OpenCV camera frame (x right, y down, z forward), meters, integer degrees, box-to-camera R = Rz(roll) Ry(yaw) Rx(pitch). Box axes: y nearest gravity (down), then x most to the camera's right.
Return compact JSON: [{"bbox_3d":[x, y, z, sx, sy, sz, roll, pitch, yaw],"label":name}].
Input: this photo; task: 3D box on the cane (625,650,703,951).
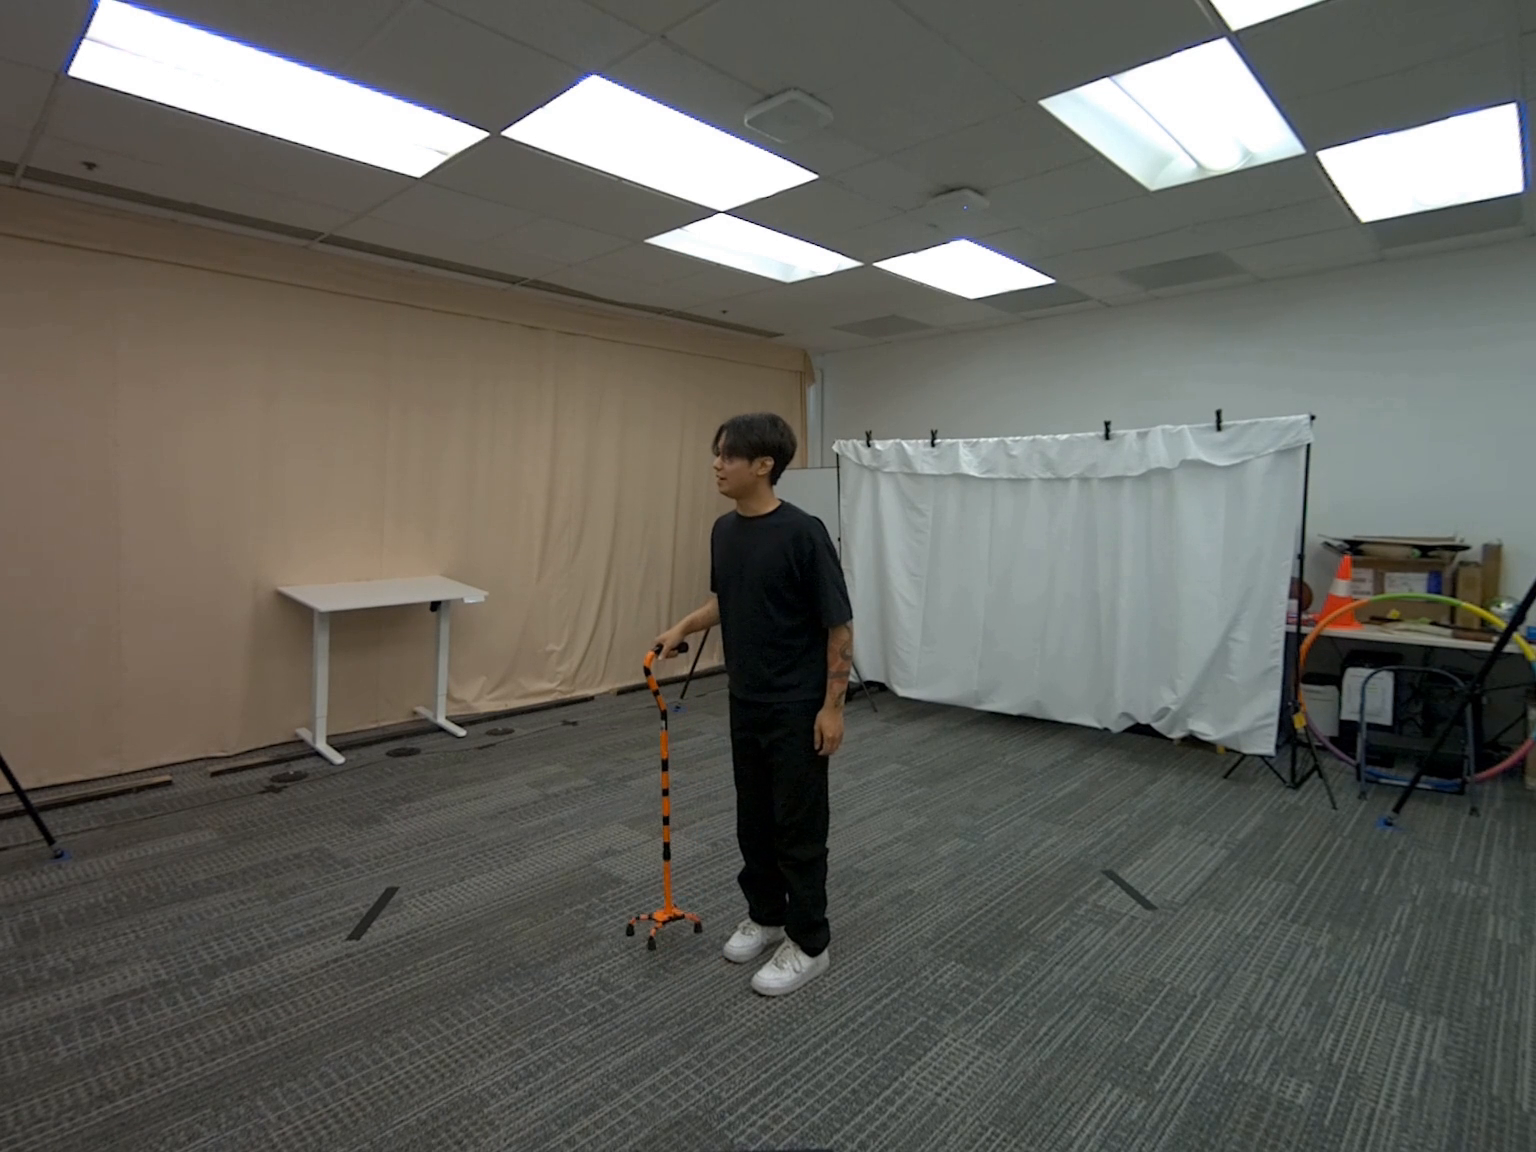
[{"bbox_3d":[-0.334,0.682,2.655,0.200,0.908,0.156,-2,0,-41],"label":"cane"}]
